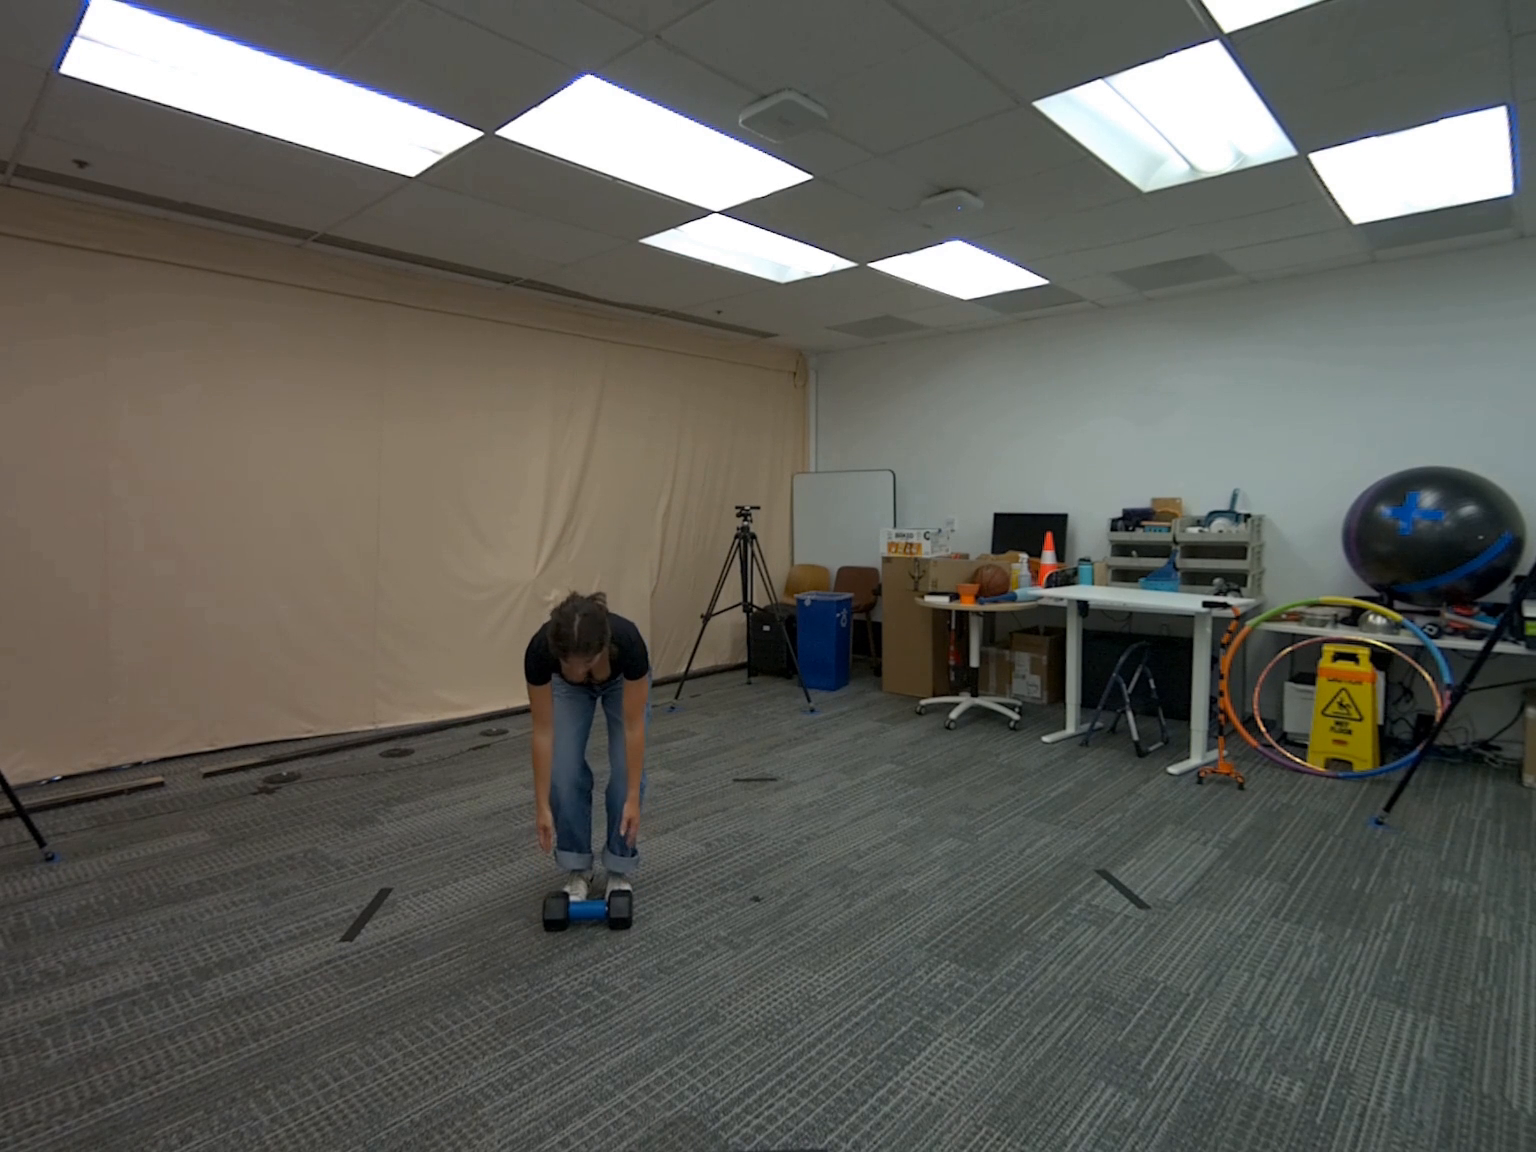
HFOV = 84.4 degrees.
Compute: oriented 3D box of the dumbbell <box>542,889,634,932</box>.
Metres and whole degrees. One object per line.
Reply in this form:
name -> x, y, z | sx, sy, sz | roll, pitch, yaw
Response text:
dumbbell -> -0.597, 1.104, 2.795 | 0.293, 0.125, 0.107 | -1, -27, -3
